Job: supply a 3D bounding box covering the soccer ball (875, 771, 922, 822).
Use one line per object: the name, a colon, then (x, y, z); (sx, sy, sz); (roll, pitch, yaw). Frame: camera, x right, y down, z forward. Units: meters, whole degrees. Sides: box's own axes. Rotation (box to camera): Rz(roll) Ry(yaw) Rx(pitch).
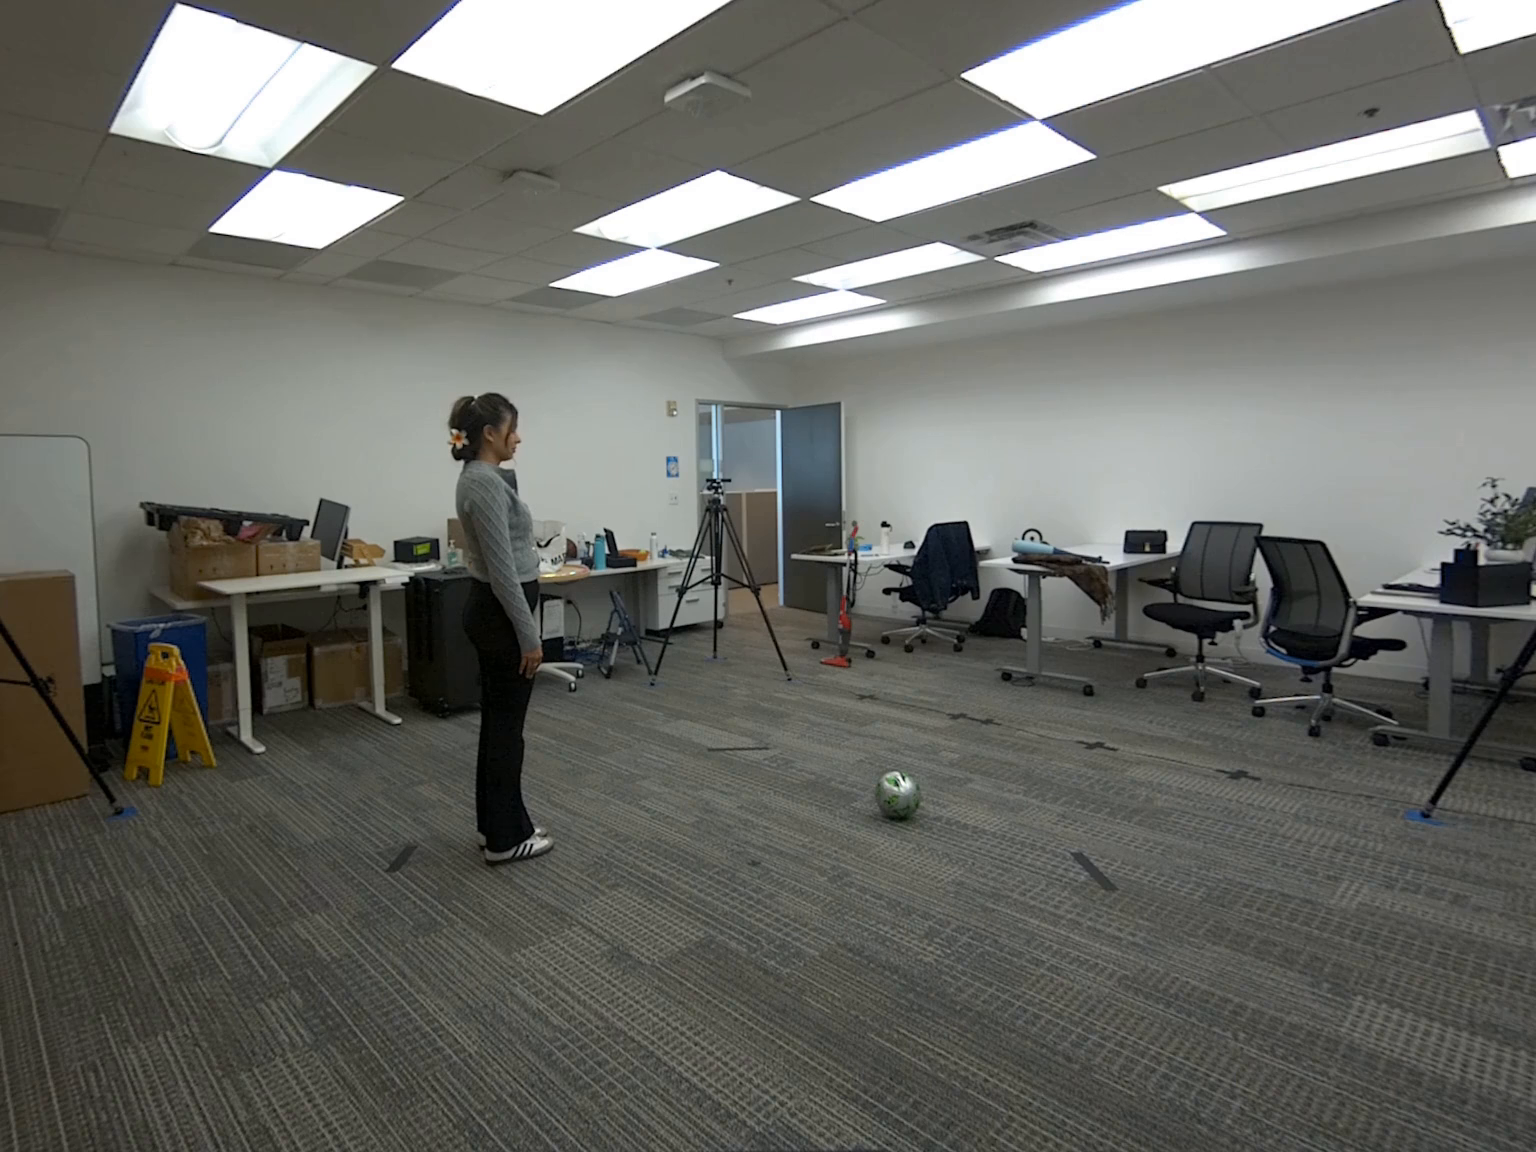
soccer ball: (0.533, 0.896, 3.506); (0.187, 0.187, 0.188); (-1, 5, -2)
